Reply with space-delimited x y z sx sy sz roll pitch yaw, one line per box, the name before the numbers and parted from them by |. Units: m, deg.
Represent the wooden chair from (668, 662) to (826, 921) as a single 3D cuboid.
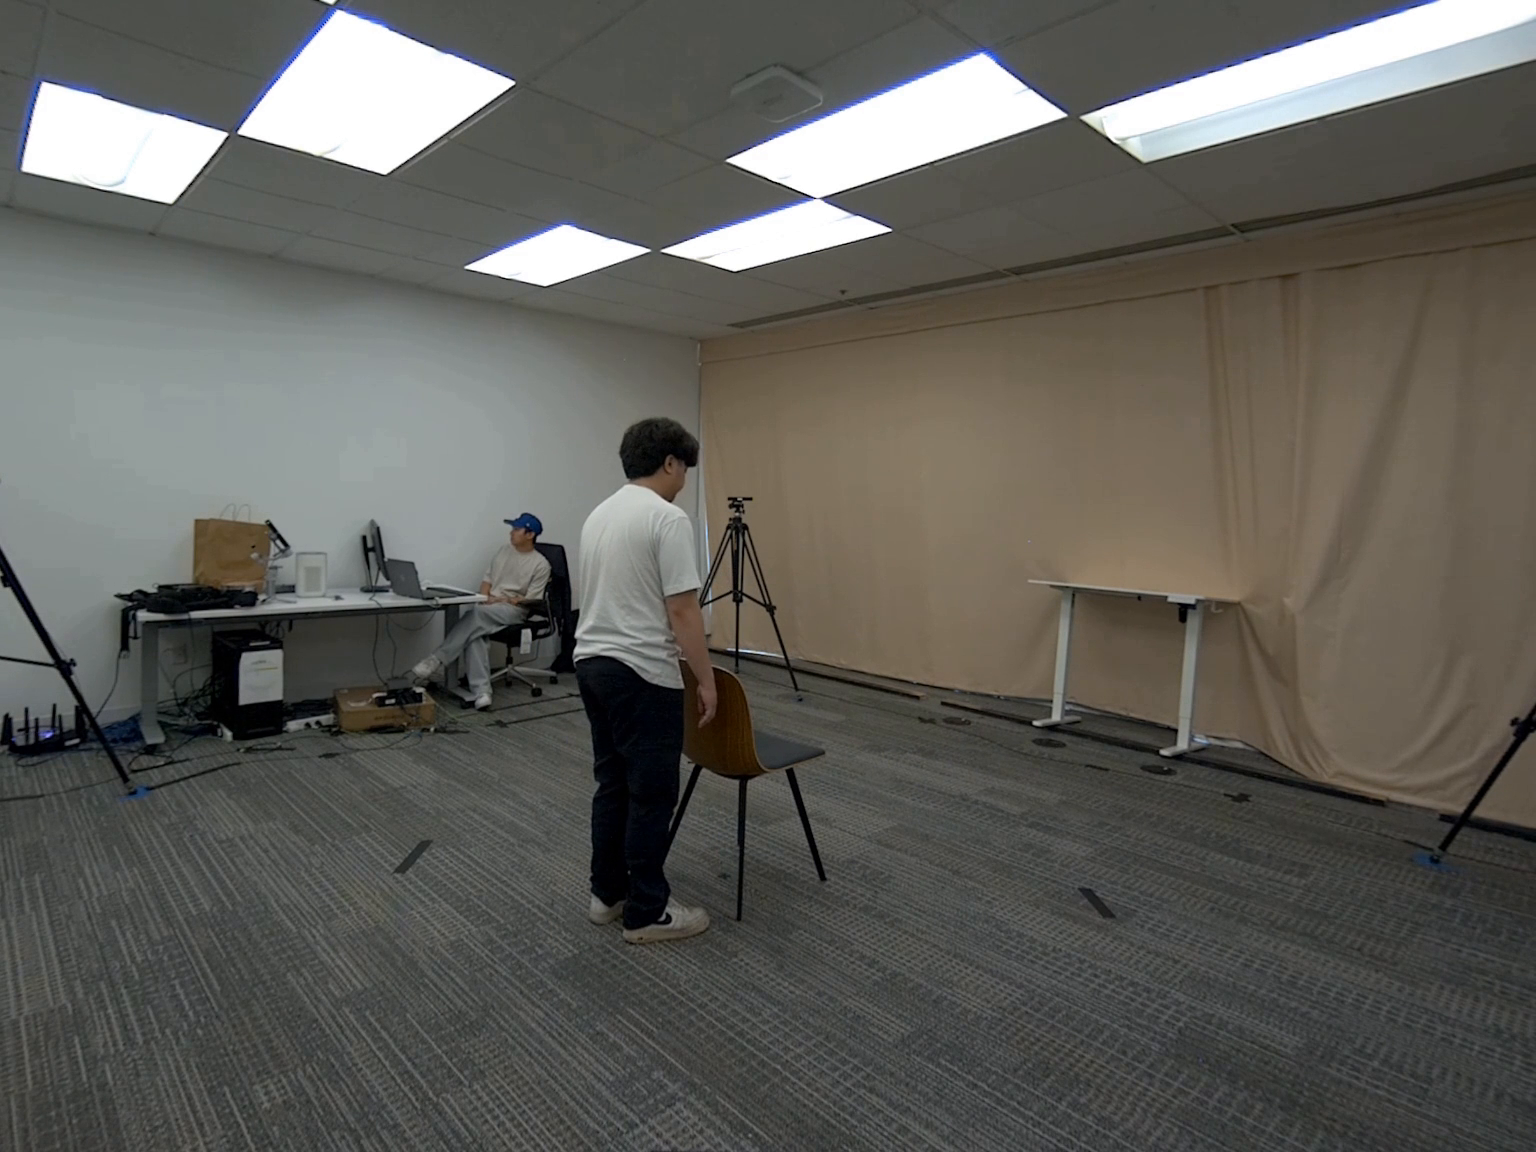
wooden chair | -0.092 0.685 3.065 0.490 0.873 0.512 4 8 44
